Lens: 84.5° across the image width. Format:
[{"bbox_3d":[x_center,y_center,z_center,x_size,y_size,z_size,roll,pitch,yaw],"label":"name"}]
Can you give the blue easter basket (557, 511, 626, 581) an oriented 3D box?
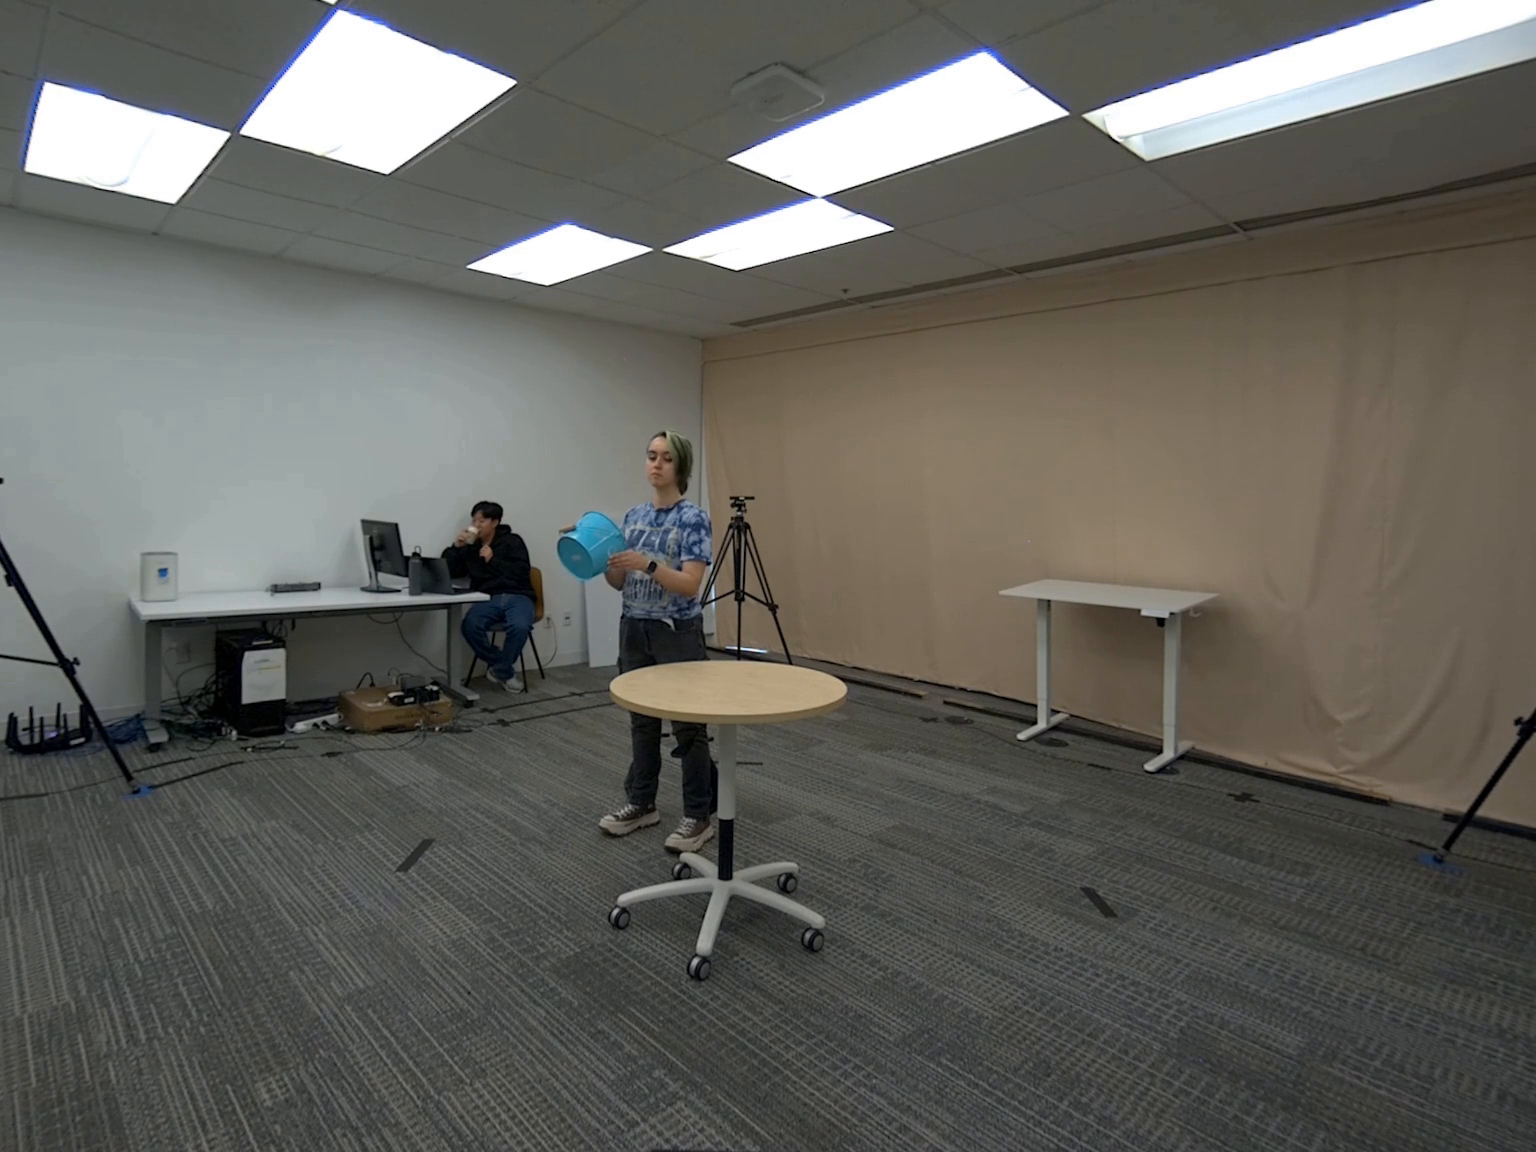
[{"bbox_3d":[-0.672,-0.100,3.067,0.249,0.239,0.155,5,30,38],"label":"blue easter basket"}]
